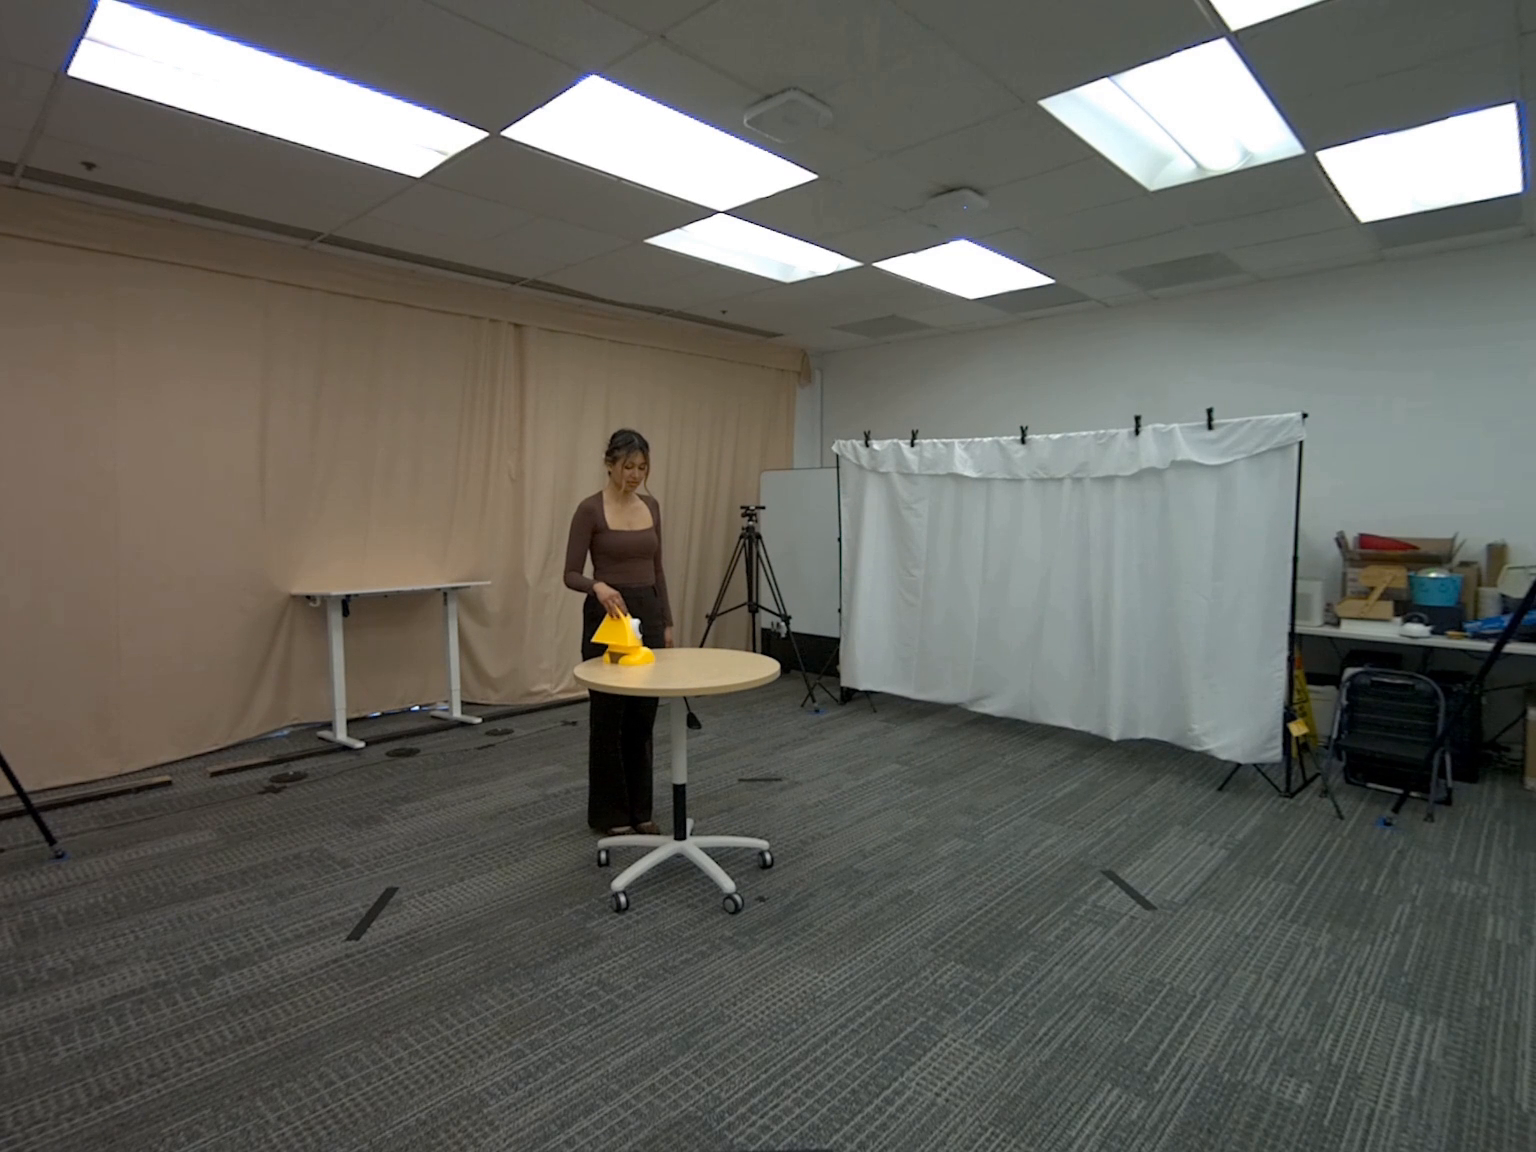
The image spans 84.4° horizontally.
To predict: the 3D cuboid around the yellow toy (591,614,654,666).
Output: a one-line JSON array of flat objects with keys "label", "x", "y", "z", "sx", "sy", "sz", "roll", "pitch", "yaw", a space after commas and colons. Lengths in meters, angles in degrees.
[{"label": "yellow toy", "x": -0.548, "y": 0.215, "z": 3.262, "sx": 0.211, "sy": 0.230, "sz": 0.187, "roll": 2, "pitch": 4, "yaw": 36}]
